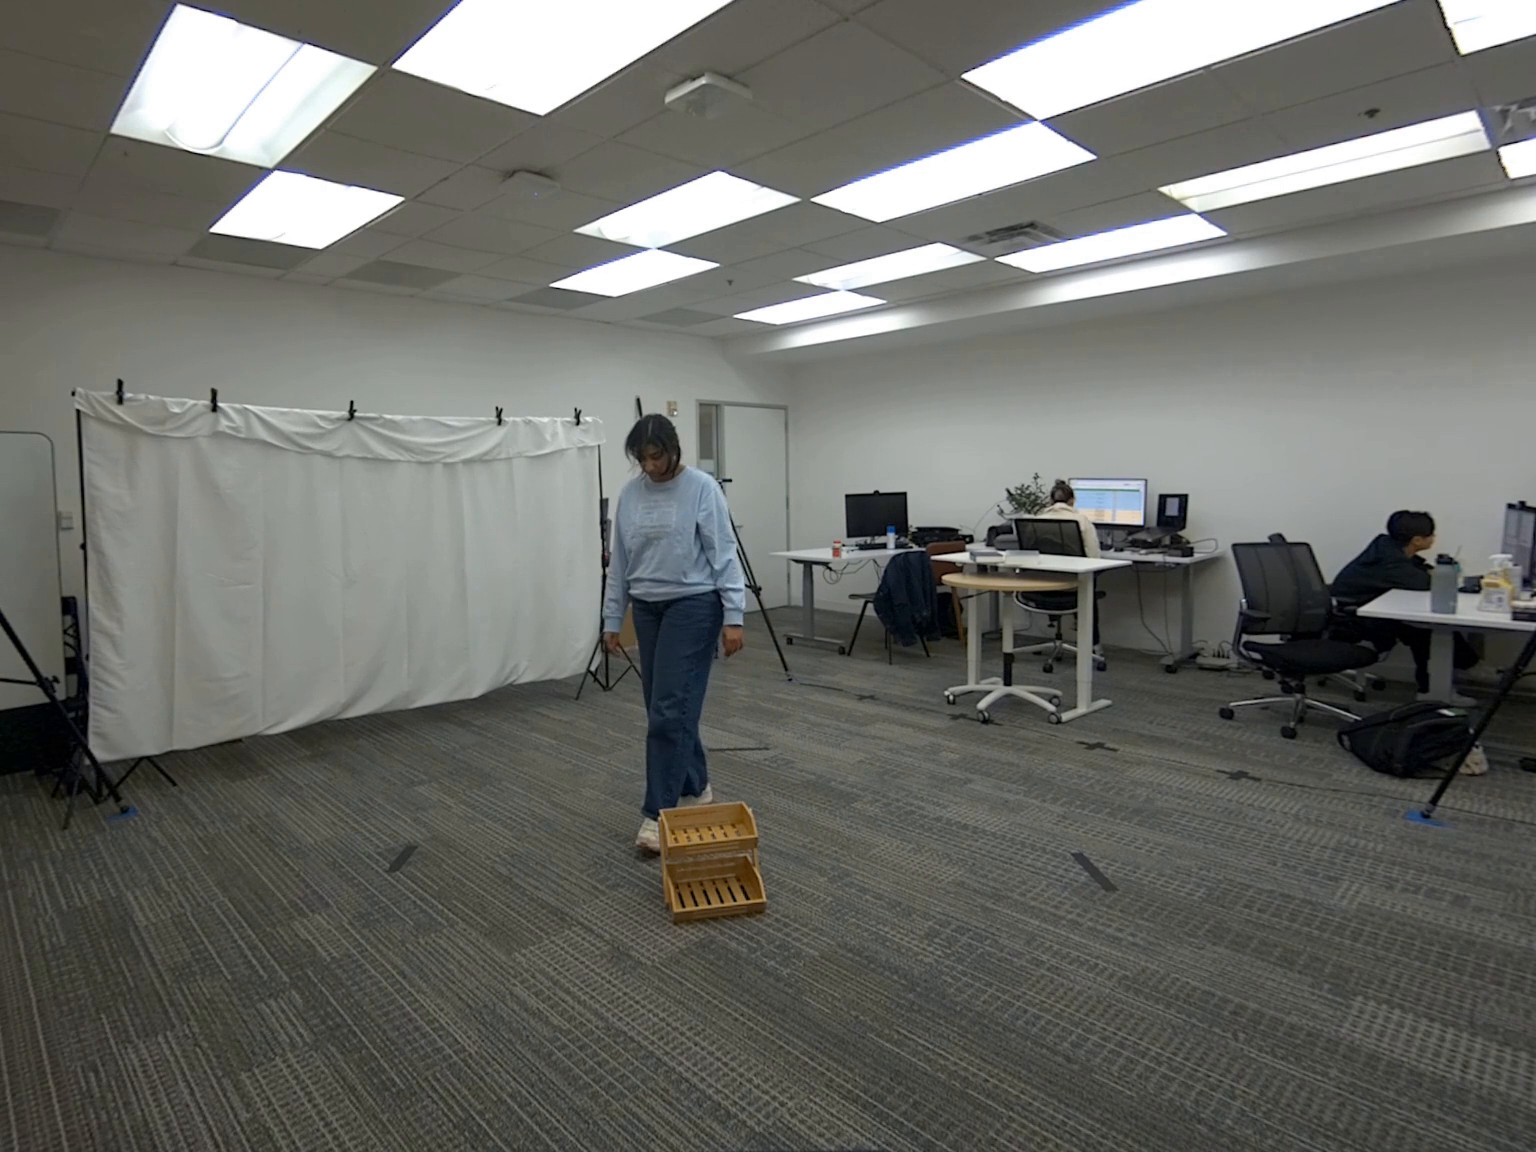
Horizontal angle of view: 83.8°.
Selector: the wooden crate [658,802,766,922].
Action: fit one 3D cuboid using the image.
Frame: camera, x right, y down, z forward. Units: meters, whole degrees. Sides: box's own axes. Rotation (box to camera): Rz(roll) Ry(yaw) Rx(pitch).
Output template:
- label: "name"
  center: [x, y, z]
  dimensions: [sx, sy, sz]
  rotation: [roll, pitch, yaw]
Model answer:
- label: "wooden crate"
  center: [-0.184, 0.948, 2.840]
  dimensions: [0.321, 0.272, 0.307]
  rotation: [-3, 6, -13]
